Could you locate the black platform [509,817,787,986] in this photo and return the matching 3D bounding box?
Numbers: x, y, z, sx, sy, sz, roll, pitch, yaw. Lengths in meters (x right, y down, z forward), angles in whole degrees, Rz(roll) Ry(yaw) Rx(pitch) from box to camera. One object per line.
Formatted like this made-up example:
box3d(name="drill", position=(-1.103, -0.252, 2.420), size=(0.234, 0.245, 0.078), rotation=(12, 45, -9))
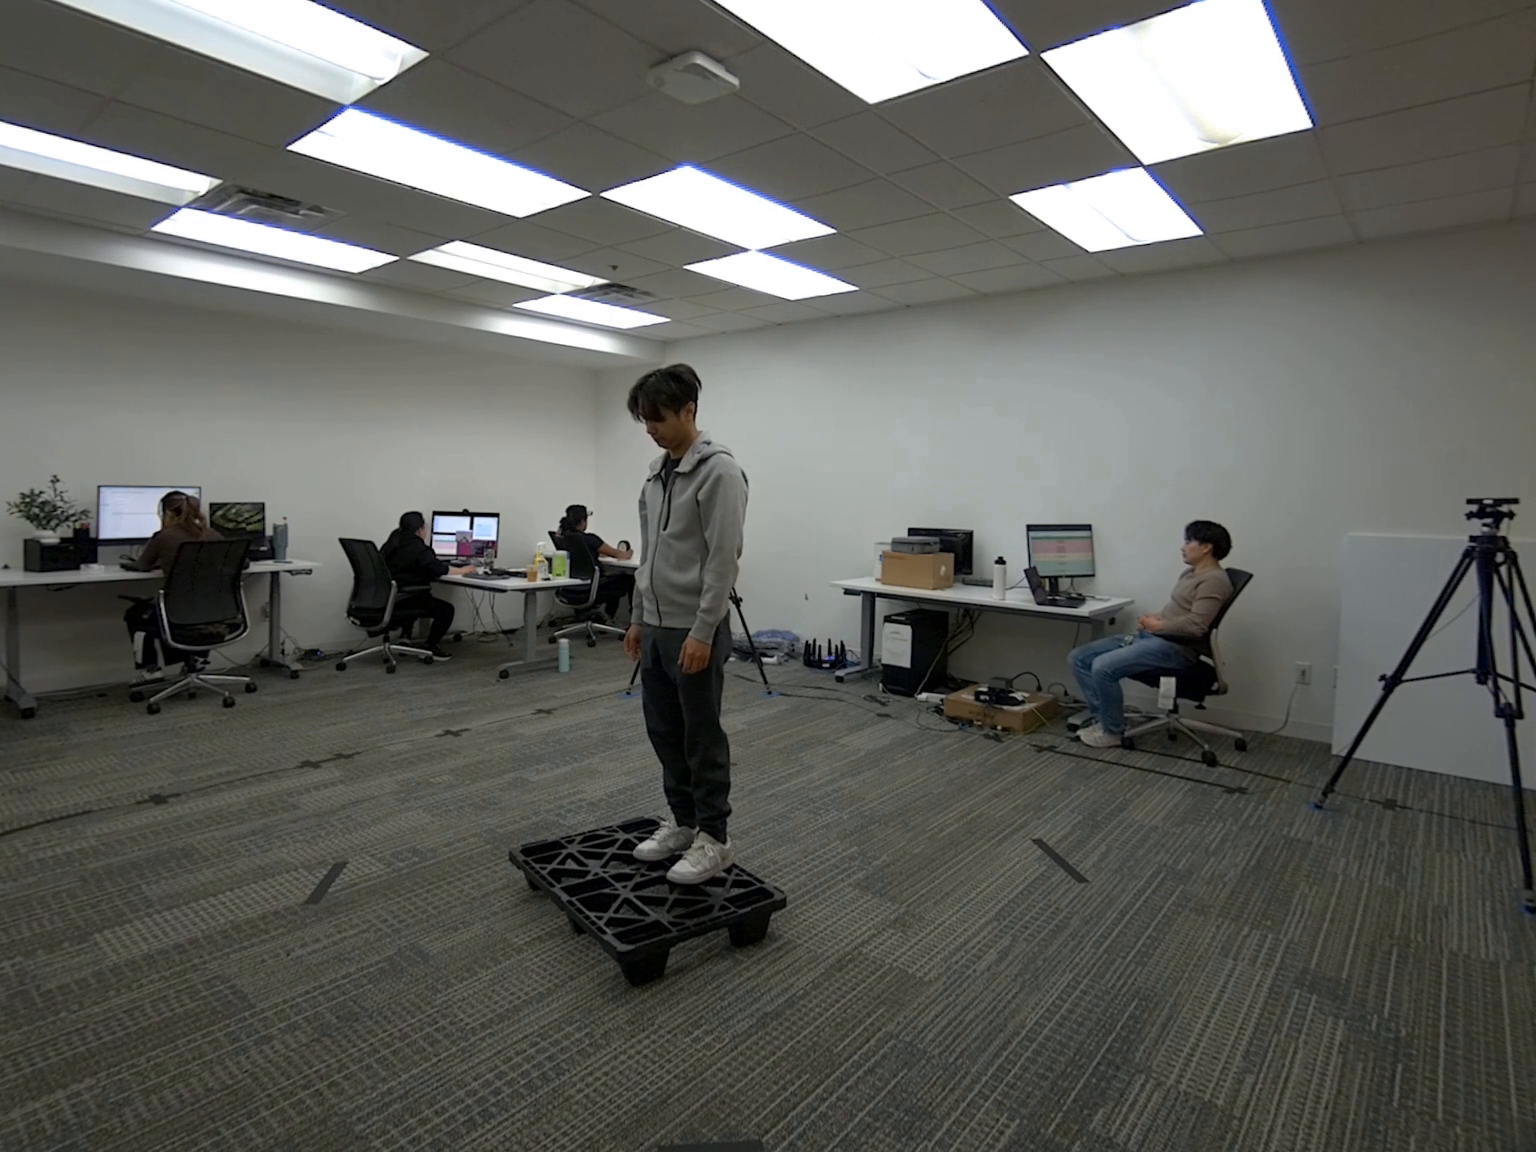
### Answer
box3d(name="black platform", position=(-0.424, 1.027, 2.792), size=(0.587, 0.143, 0.833), rotation=(-2, 6, -37))
